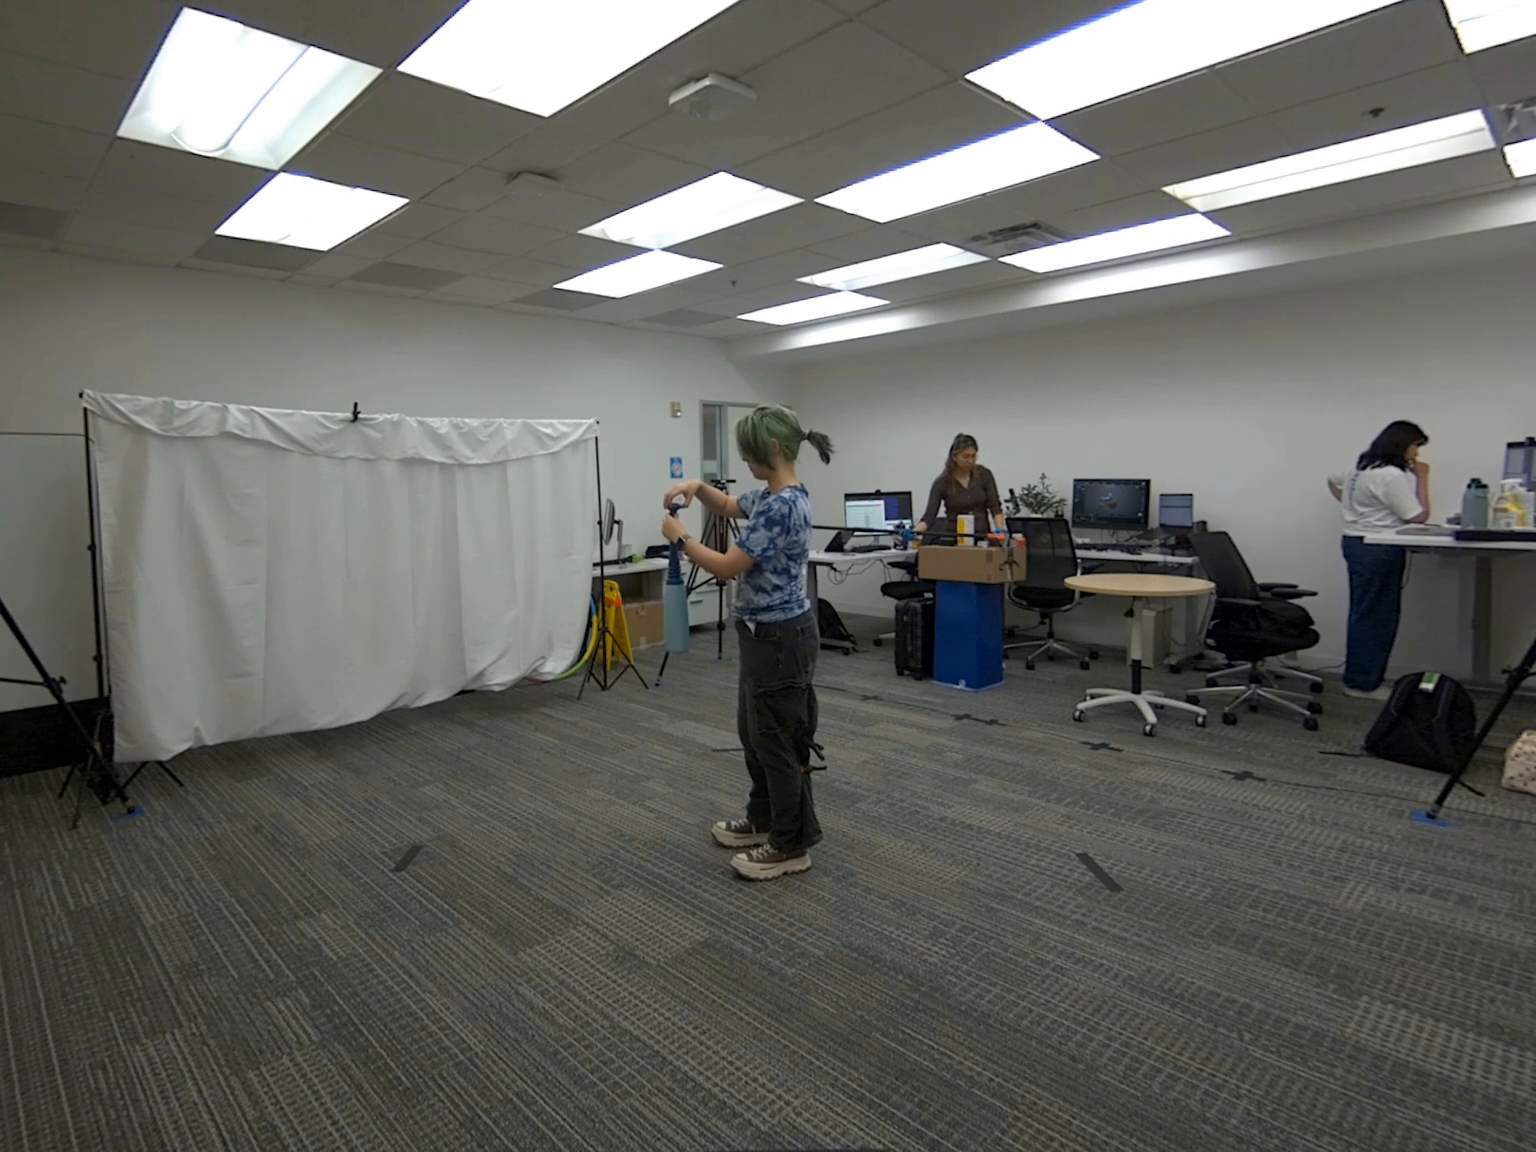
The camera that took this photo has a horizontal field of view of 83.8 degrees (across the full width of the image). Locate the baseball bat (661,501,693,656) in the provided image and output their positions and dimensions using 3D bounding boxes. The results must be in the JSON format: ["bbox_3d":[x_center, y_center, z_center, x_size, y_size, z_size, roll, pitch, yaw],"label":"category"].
[{"bbox_3d":[-0.328,0.003,3.070,0.089,0.540,0.089,-1,6,-1],"label":"baseball bat"}]
